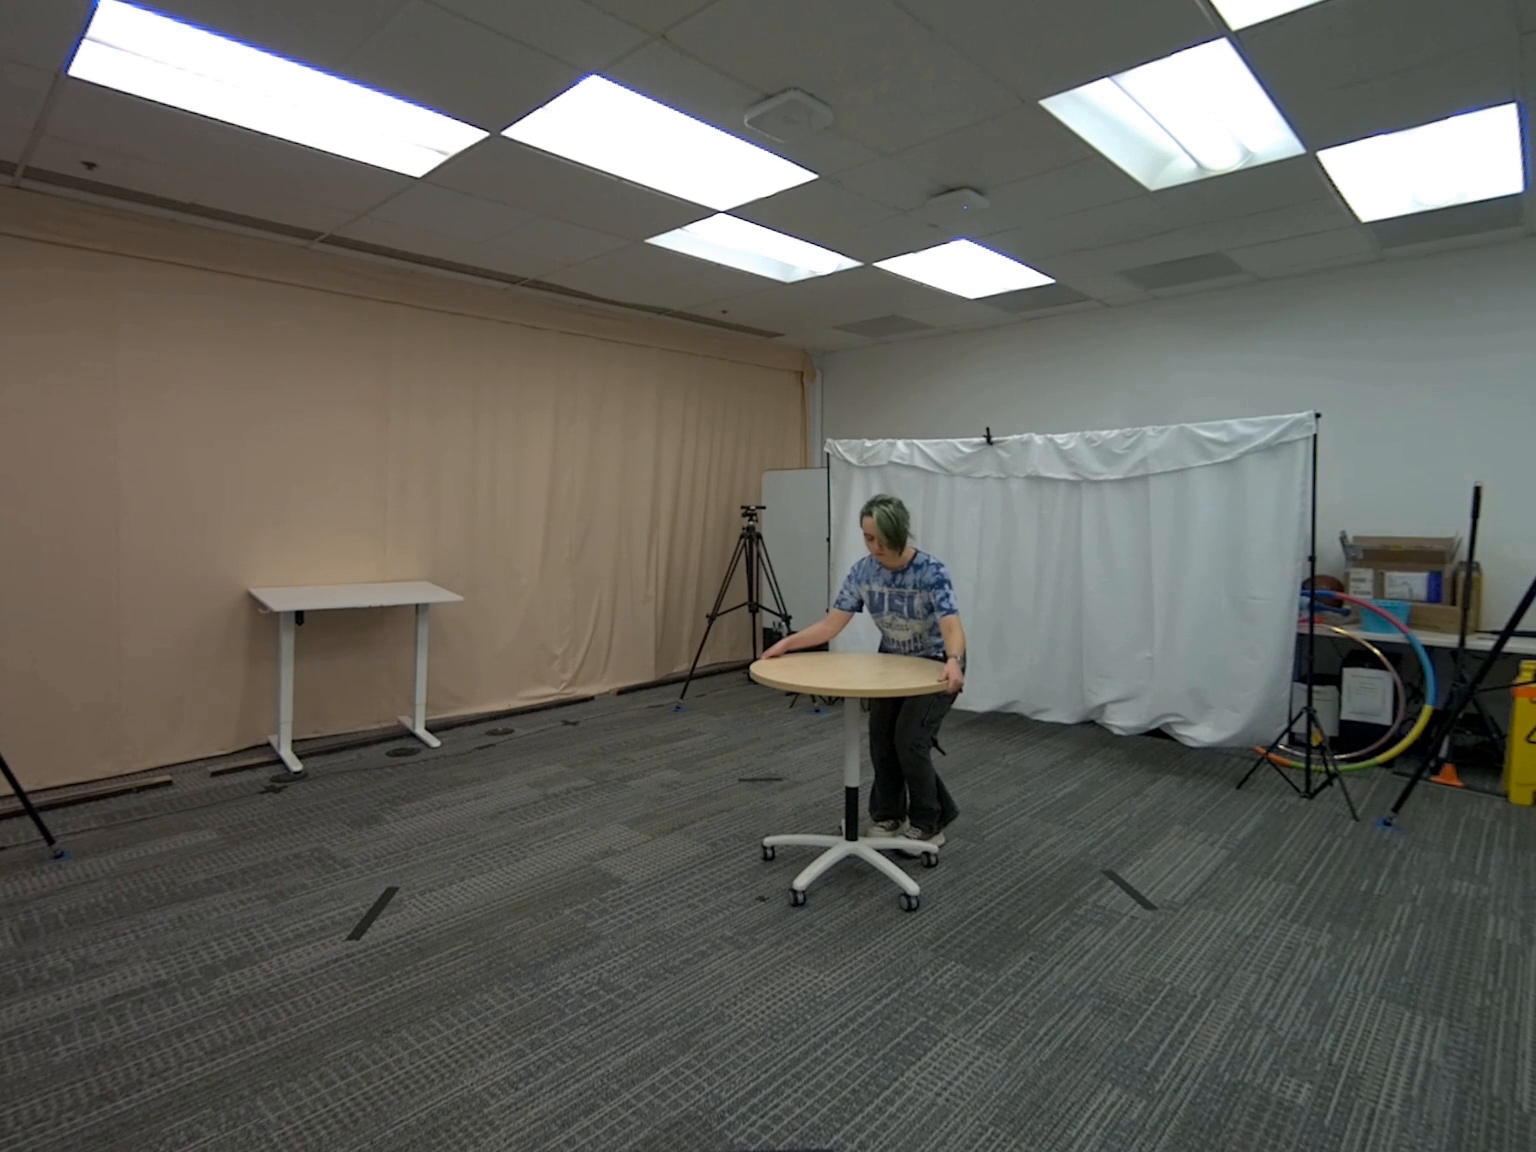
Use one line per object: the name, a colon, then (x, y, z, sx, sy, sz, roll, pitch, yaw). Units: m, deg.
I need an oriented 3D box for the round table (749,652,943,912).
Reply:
round table: (0.312, 0.739, 3.142, 0.763, 0.792, 0.766, 0, 3, -2)
